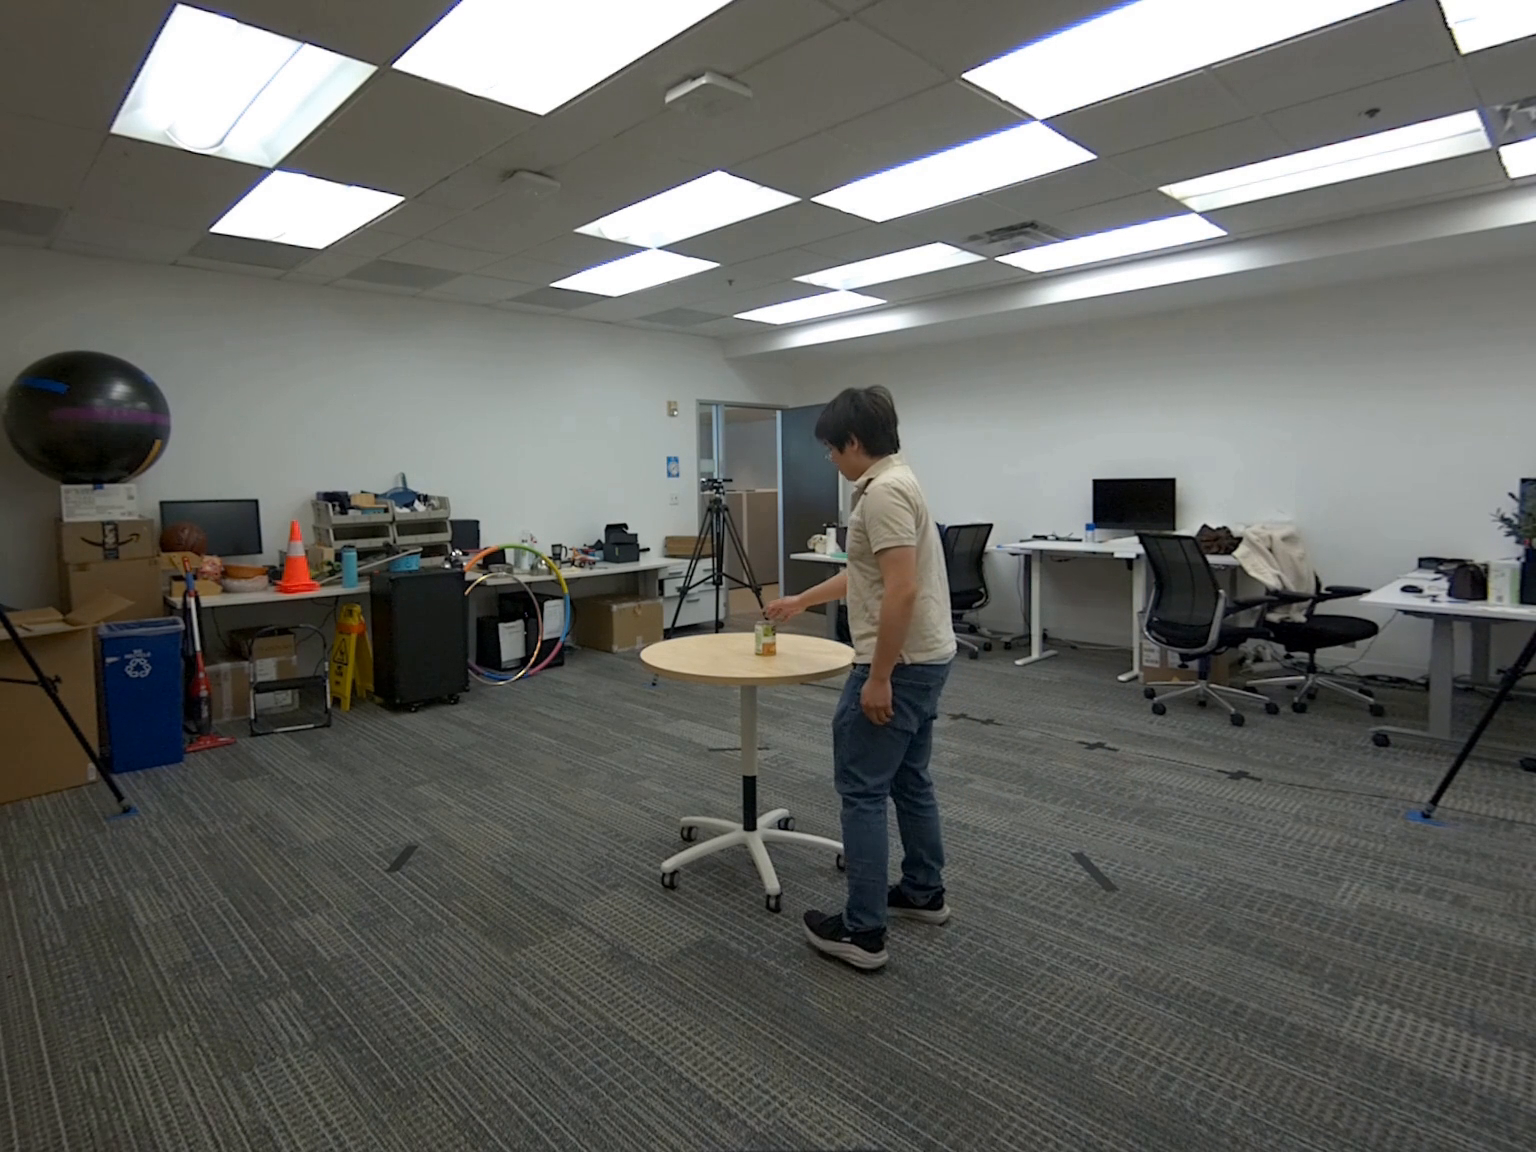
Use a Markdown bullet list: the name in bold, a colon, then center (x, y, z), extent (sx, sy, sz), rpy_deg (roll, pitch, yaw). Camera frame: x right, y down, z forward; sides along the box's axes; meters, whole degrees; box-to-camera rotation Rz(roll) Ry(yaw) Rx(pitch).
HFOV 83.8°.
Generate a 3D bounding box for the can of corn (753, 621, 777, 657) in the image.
- **can of corn**: center (-0.007, 0.216, 2.991), extent (0.074, 0.111, 0.074), rpy_deg (-2, 3, -2)
